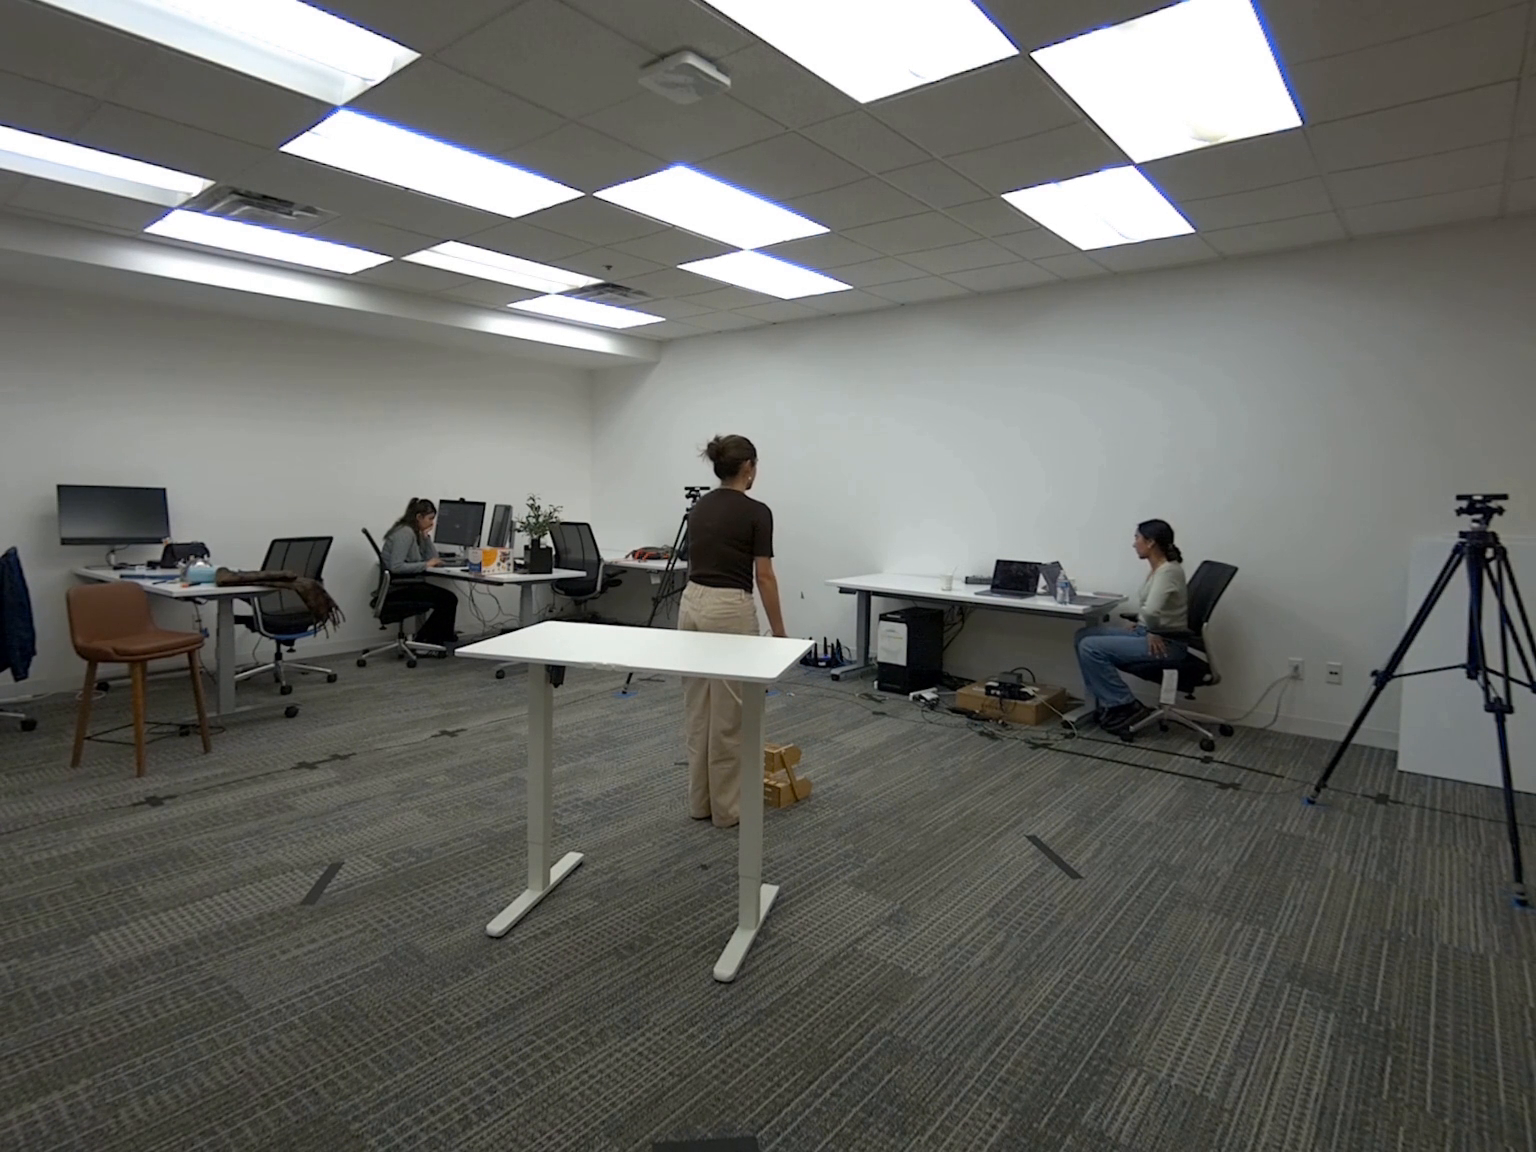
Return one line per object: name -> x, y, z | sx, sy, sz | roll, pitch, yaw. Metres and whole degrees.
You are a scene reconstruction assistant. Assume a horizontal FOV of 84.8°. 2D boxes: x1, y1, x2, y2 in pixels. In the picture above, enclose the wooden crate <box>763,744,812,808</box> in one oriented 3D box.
wooden crate -> -0.012, 0.862, 3.877 | 0.335, 0.272, 0.293 | 4, 7, 39
